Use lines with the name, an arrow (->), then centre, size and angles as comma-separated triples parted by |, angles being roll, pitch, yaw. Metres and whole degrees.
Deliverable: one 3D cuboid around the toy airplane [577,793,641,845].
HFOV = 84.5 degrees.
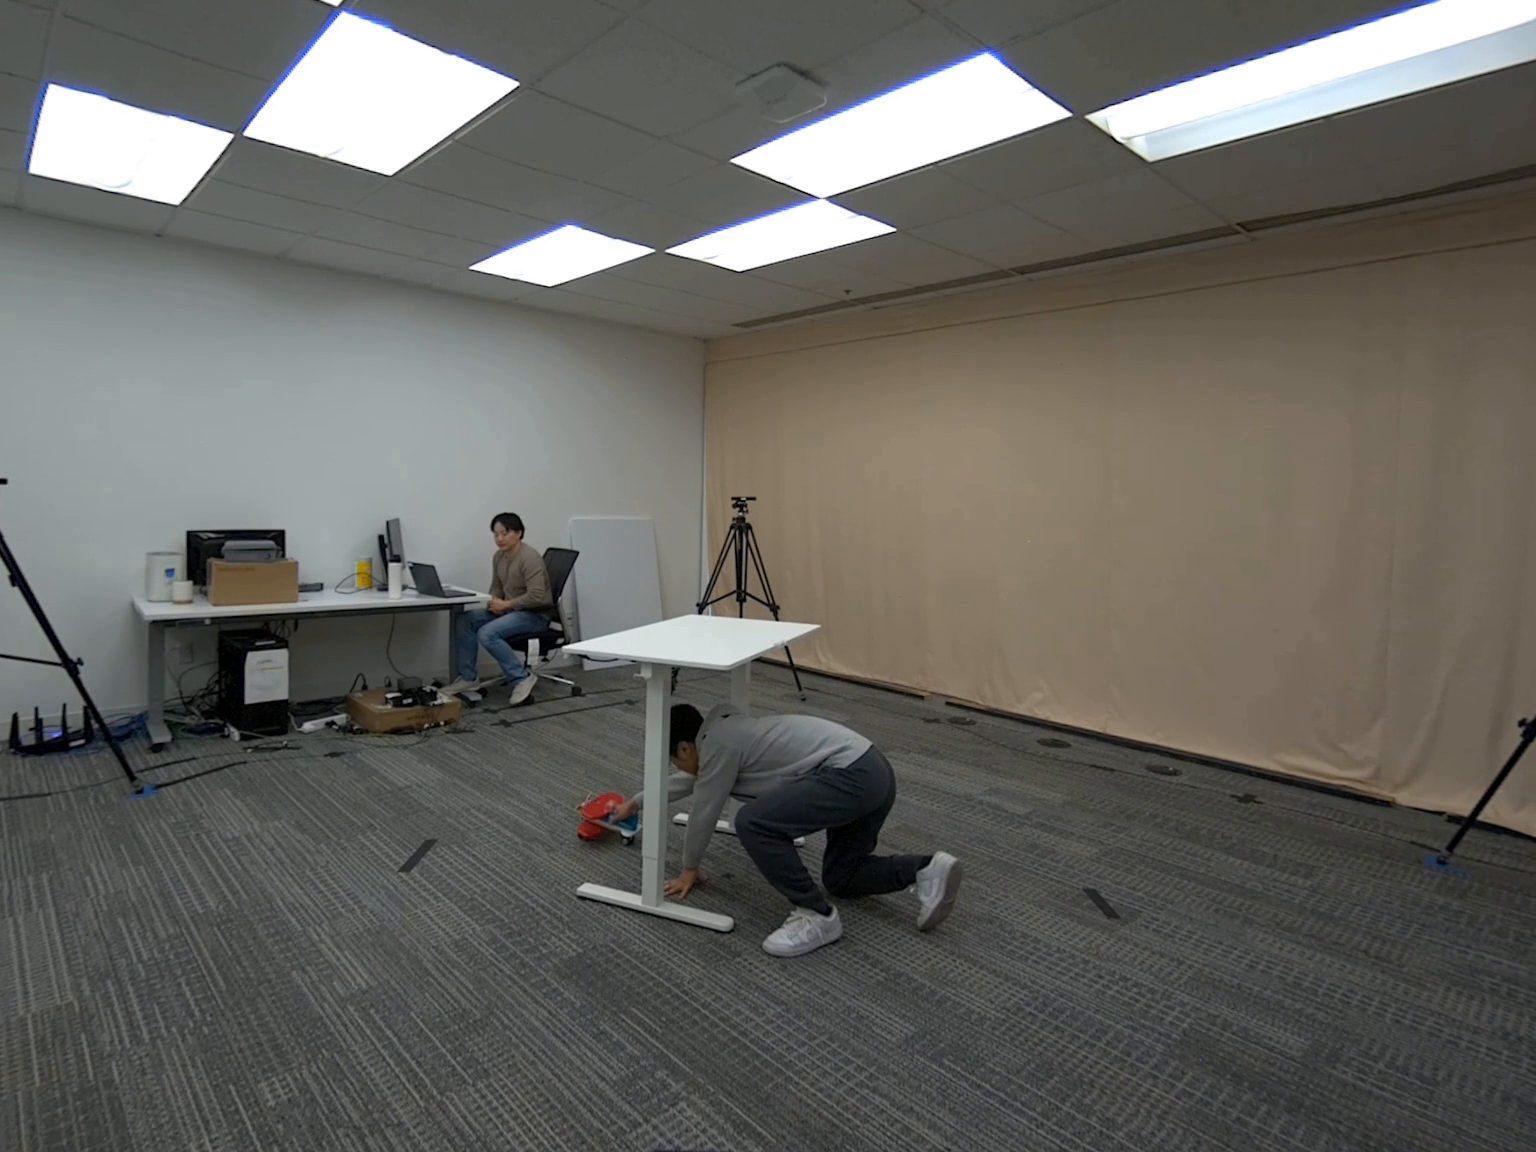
toy airplane -> -0.652, 0.995, 3.426 | 0.257, 0.156, 0.254 | 0, 5, -10
